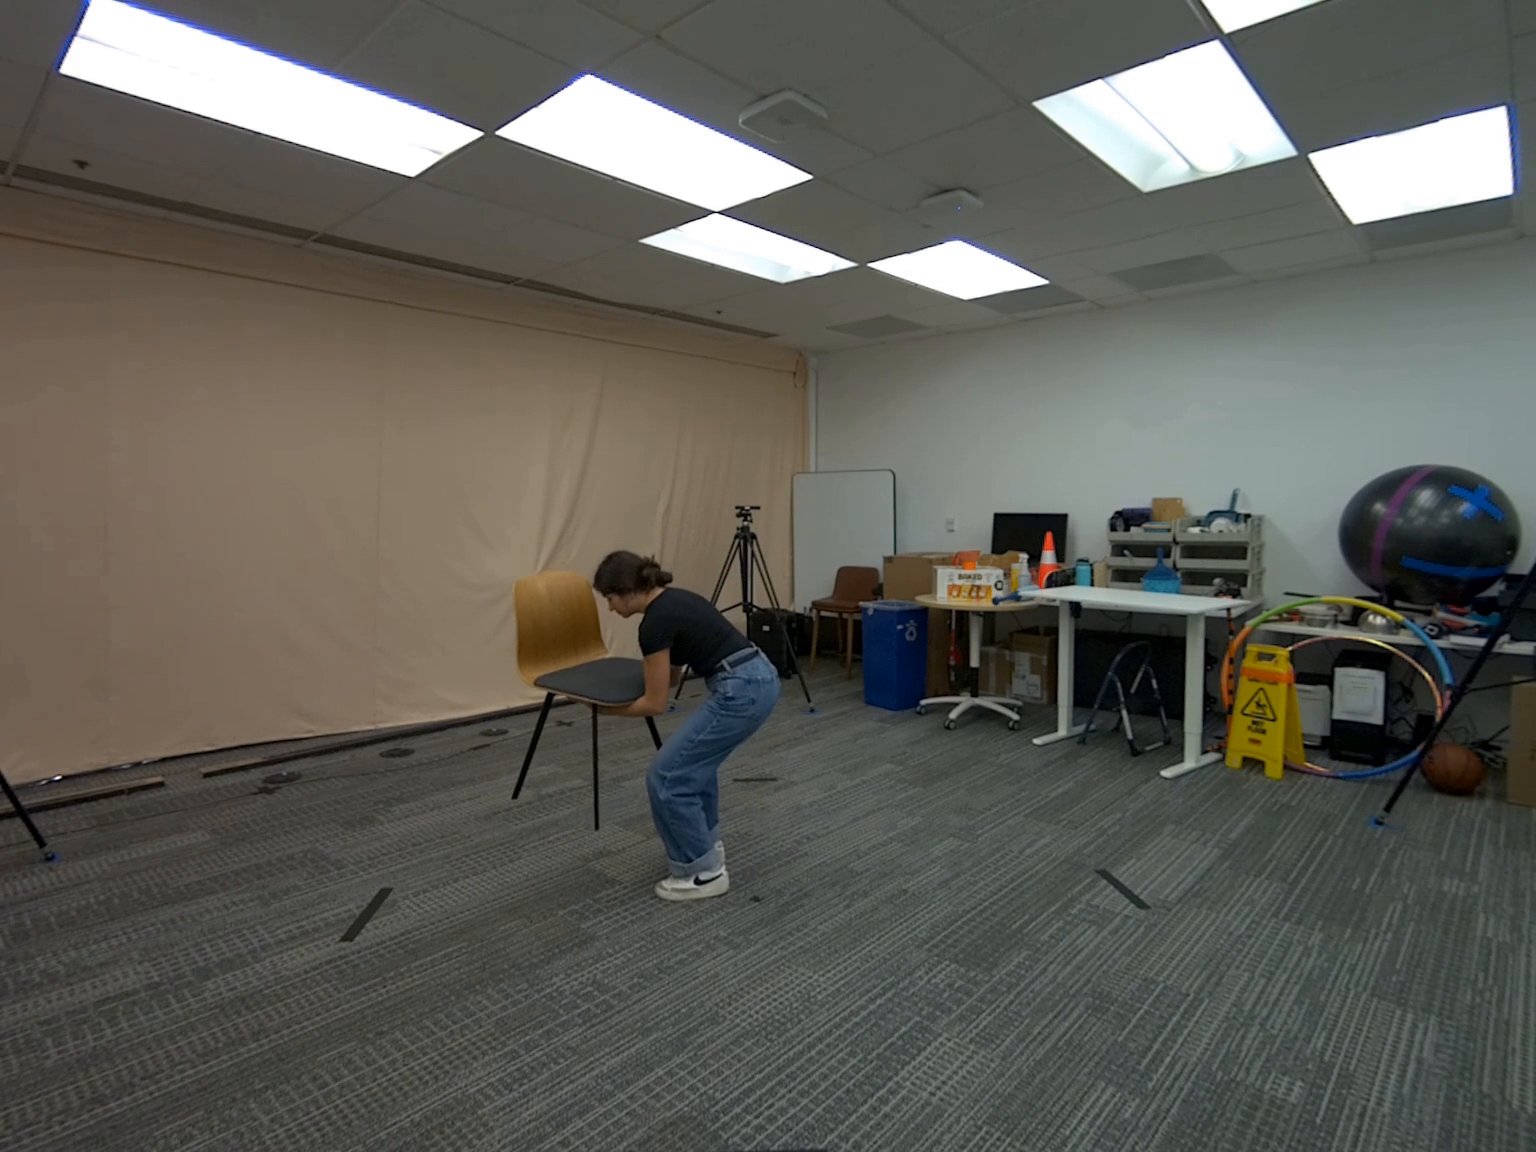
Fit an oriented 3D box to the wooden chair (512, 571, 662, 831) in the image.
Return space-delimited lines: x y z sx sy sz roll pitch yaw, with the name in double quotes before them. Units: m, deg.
"wooden chair" -0.658 0.437 3.214 0.539 0.874 0.465 2 7 34
